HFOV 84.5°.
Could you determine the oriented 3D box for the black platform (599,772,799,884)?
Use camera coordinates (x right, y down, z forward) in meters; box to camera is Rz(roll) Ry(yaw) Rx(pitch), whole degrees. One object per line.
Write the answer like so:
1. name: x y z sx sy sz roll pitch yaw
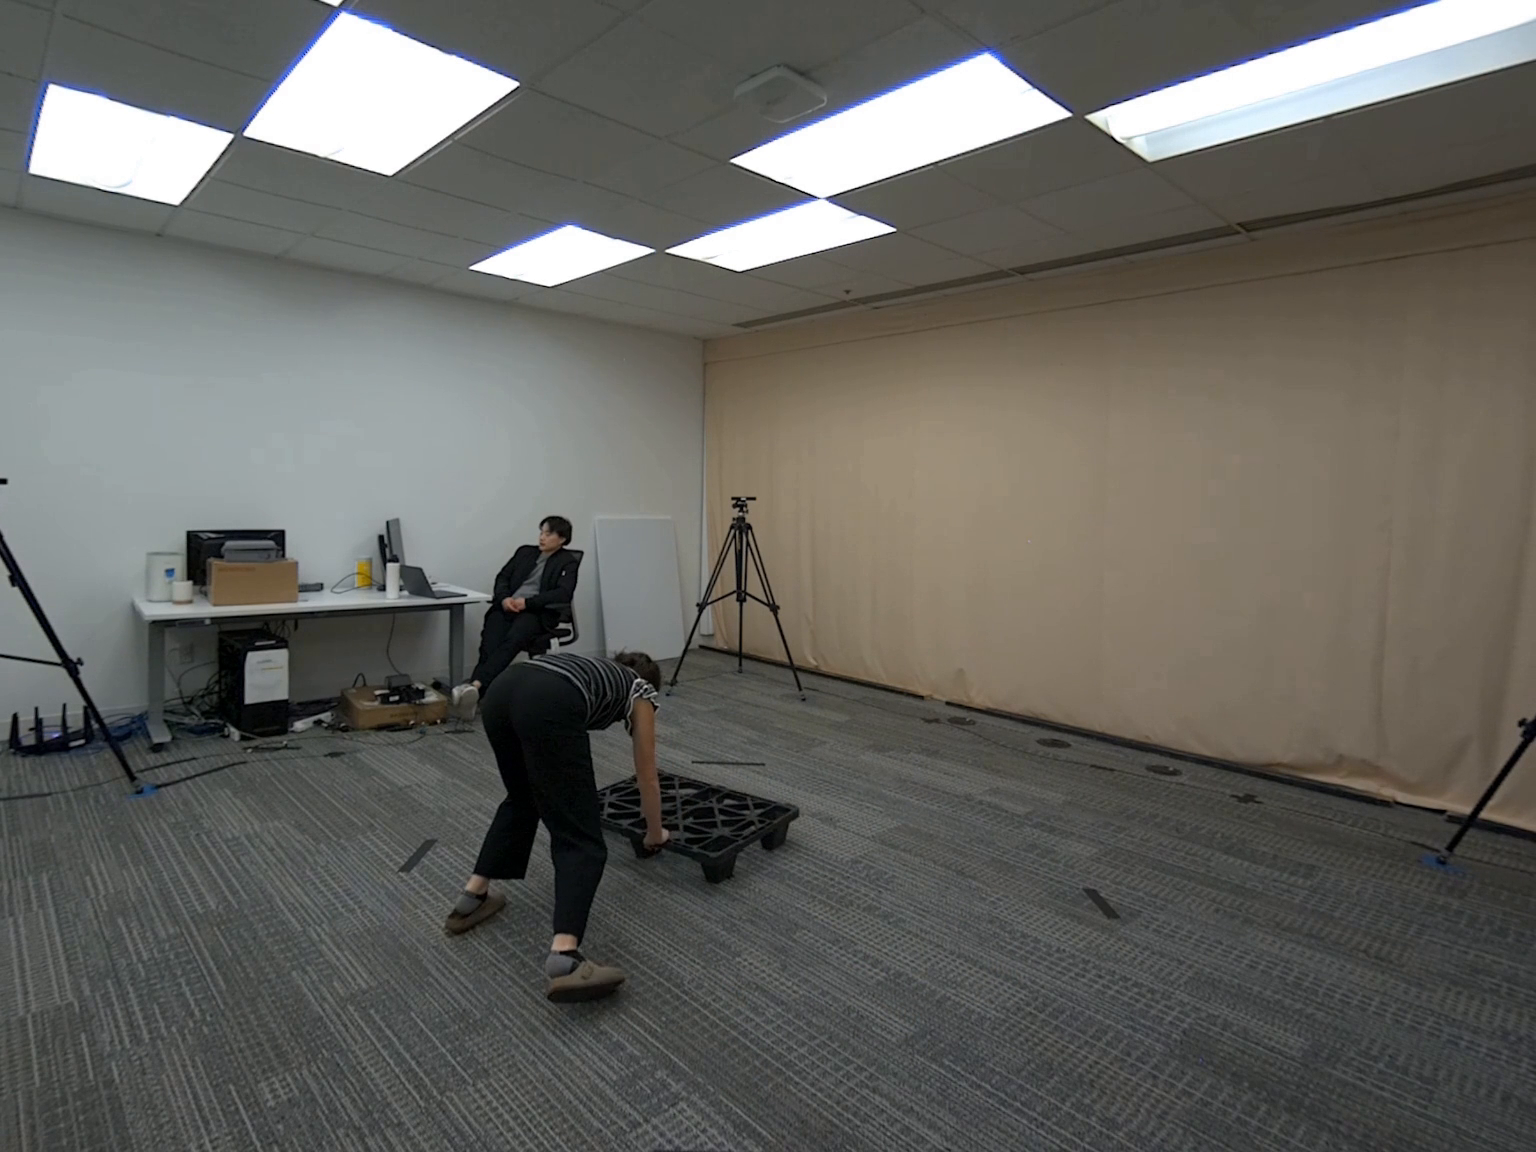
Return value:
1. black platform: -0.364 1.002 3.431 0.825 0.143 0.592 5 6 34
